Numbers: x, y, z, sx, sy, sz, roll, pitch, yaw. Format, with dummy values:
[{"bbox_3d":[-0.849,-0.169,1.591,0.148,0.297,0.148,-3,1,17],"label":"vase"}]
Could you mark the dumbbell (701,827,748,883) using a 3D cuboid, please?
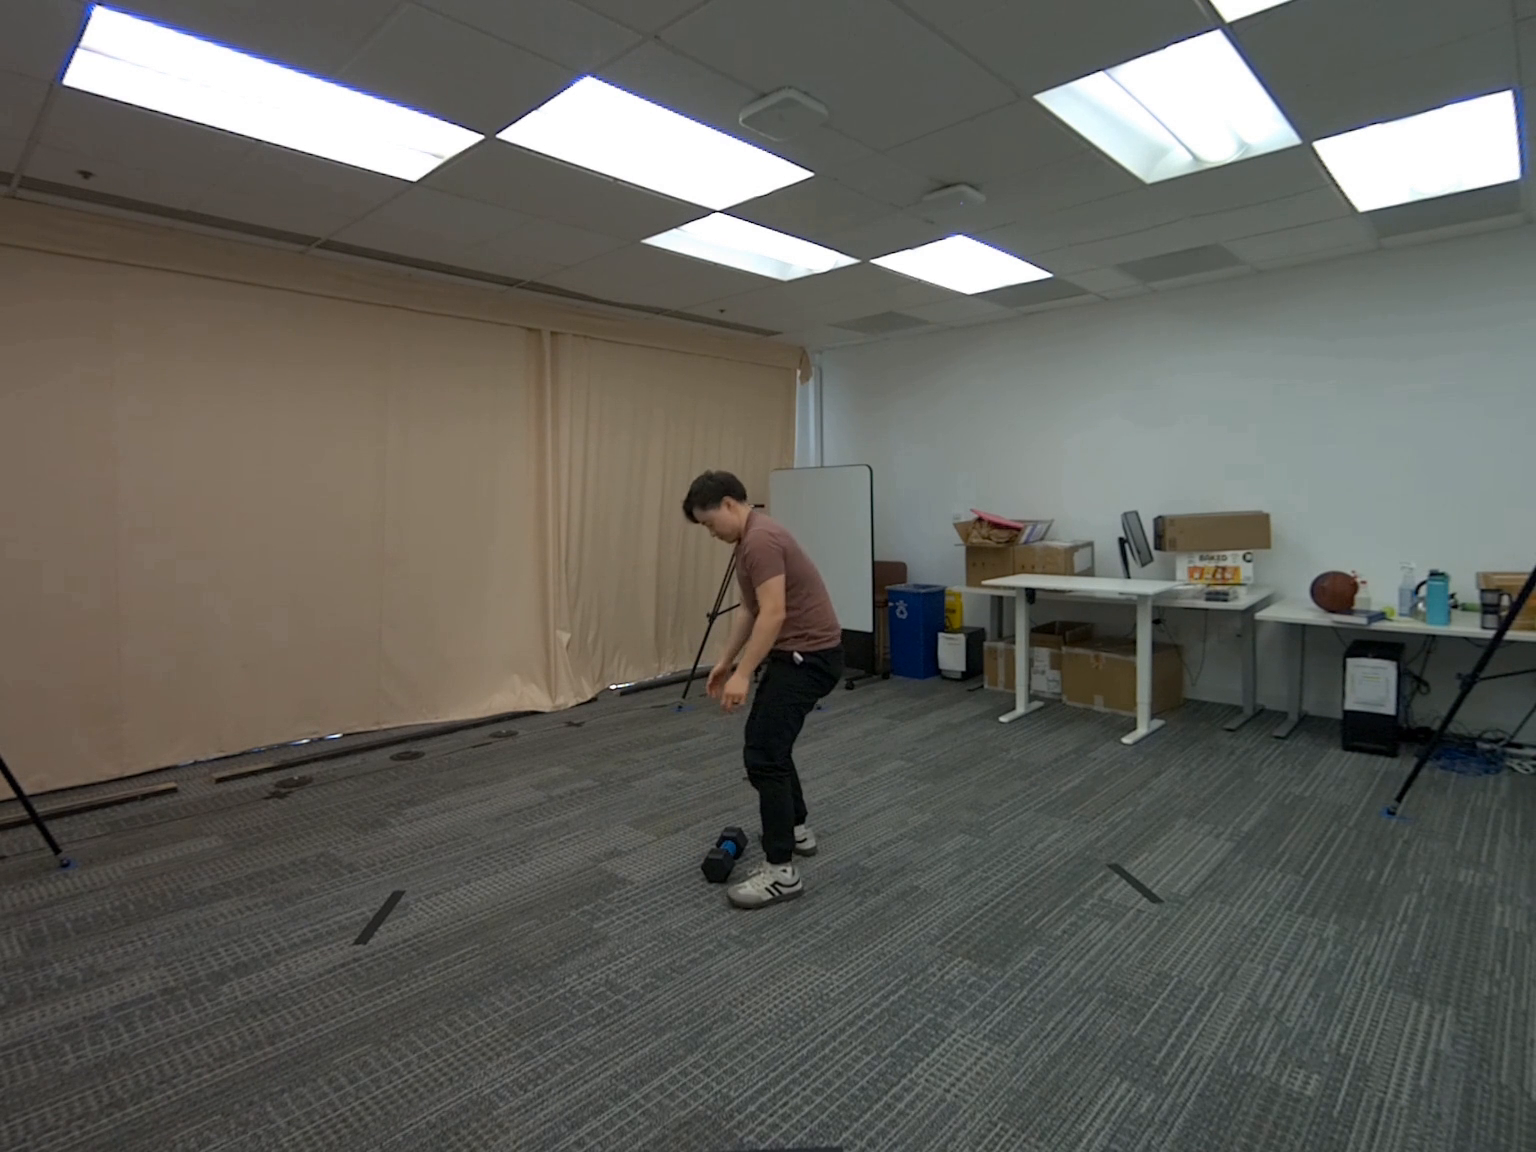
[{"bbox_3d":[-0.163,1.065,3.234,0.110,0.123,0.290,32,11,7],"label":"dumbbell"}]
